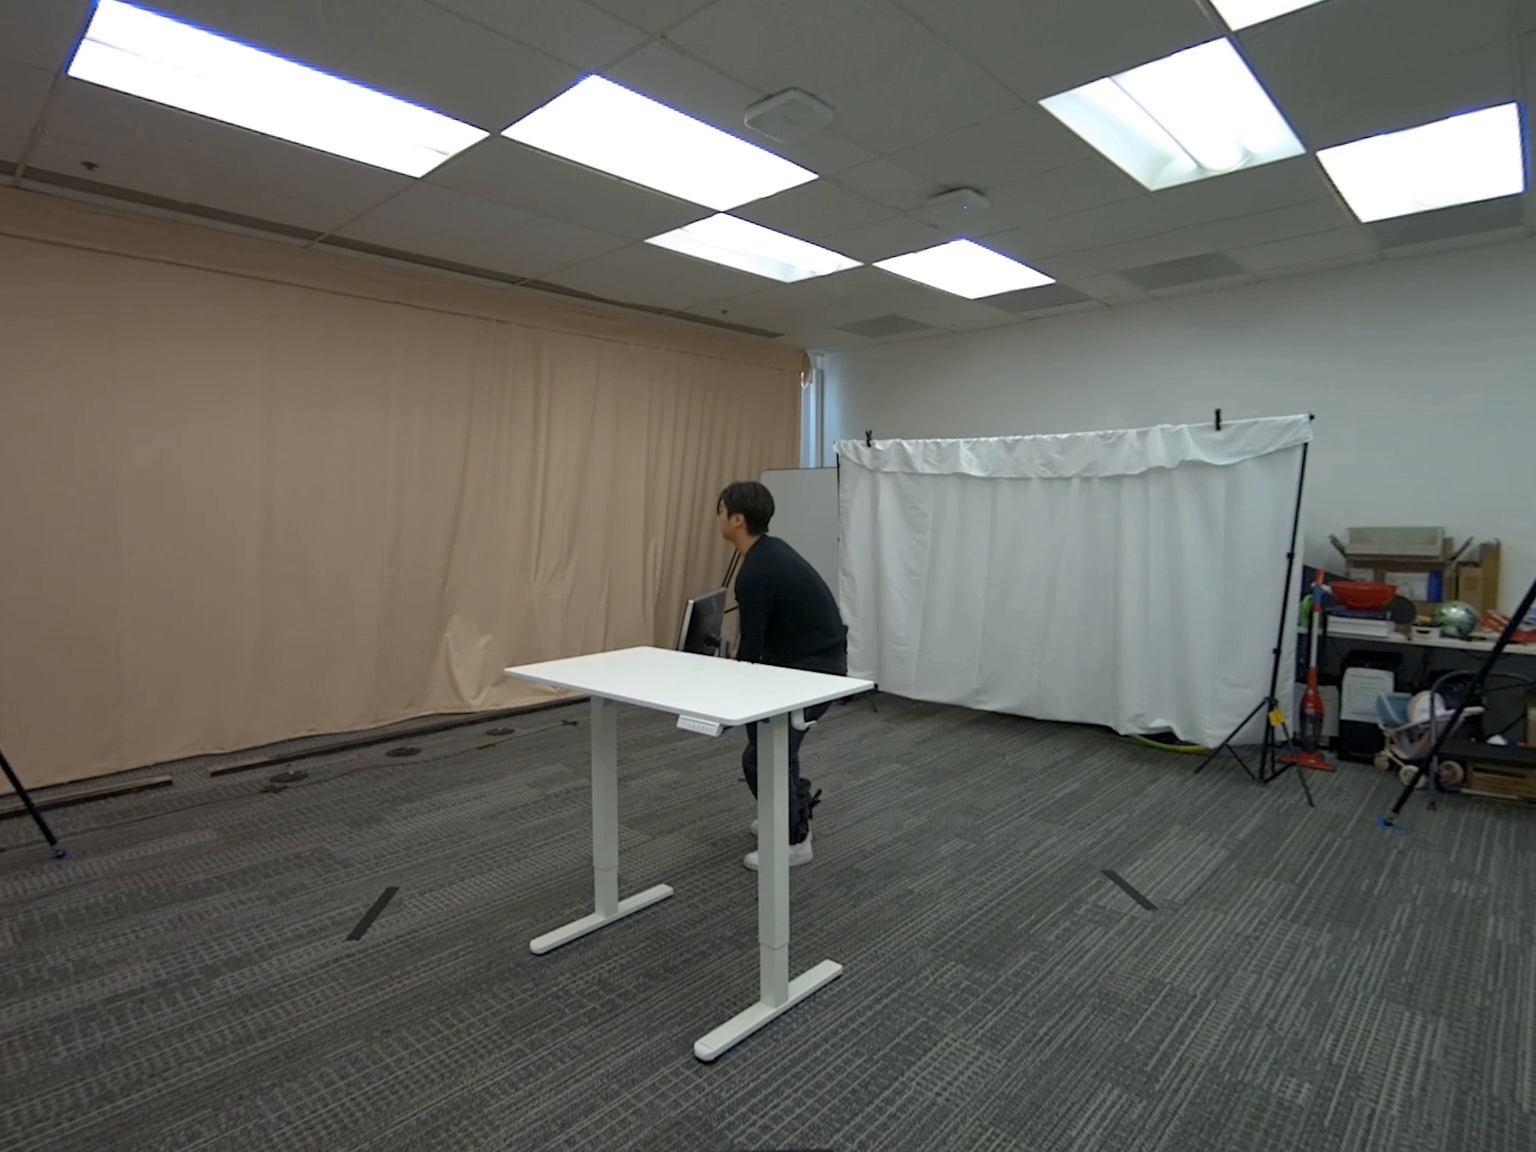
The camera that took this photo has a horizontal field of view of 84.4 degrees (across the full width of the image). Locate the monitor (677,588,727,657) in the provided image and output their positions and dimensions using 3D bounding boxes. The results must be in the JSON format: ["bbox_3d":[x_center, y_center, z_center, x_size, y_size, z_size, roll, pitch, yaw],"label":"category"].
[{"bbox_3d":[-0.236,0.345,3.424,0.190,0.522,0.532,2,2,11],"label":"monitor"}]
